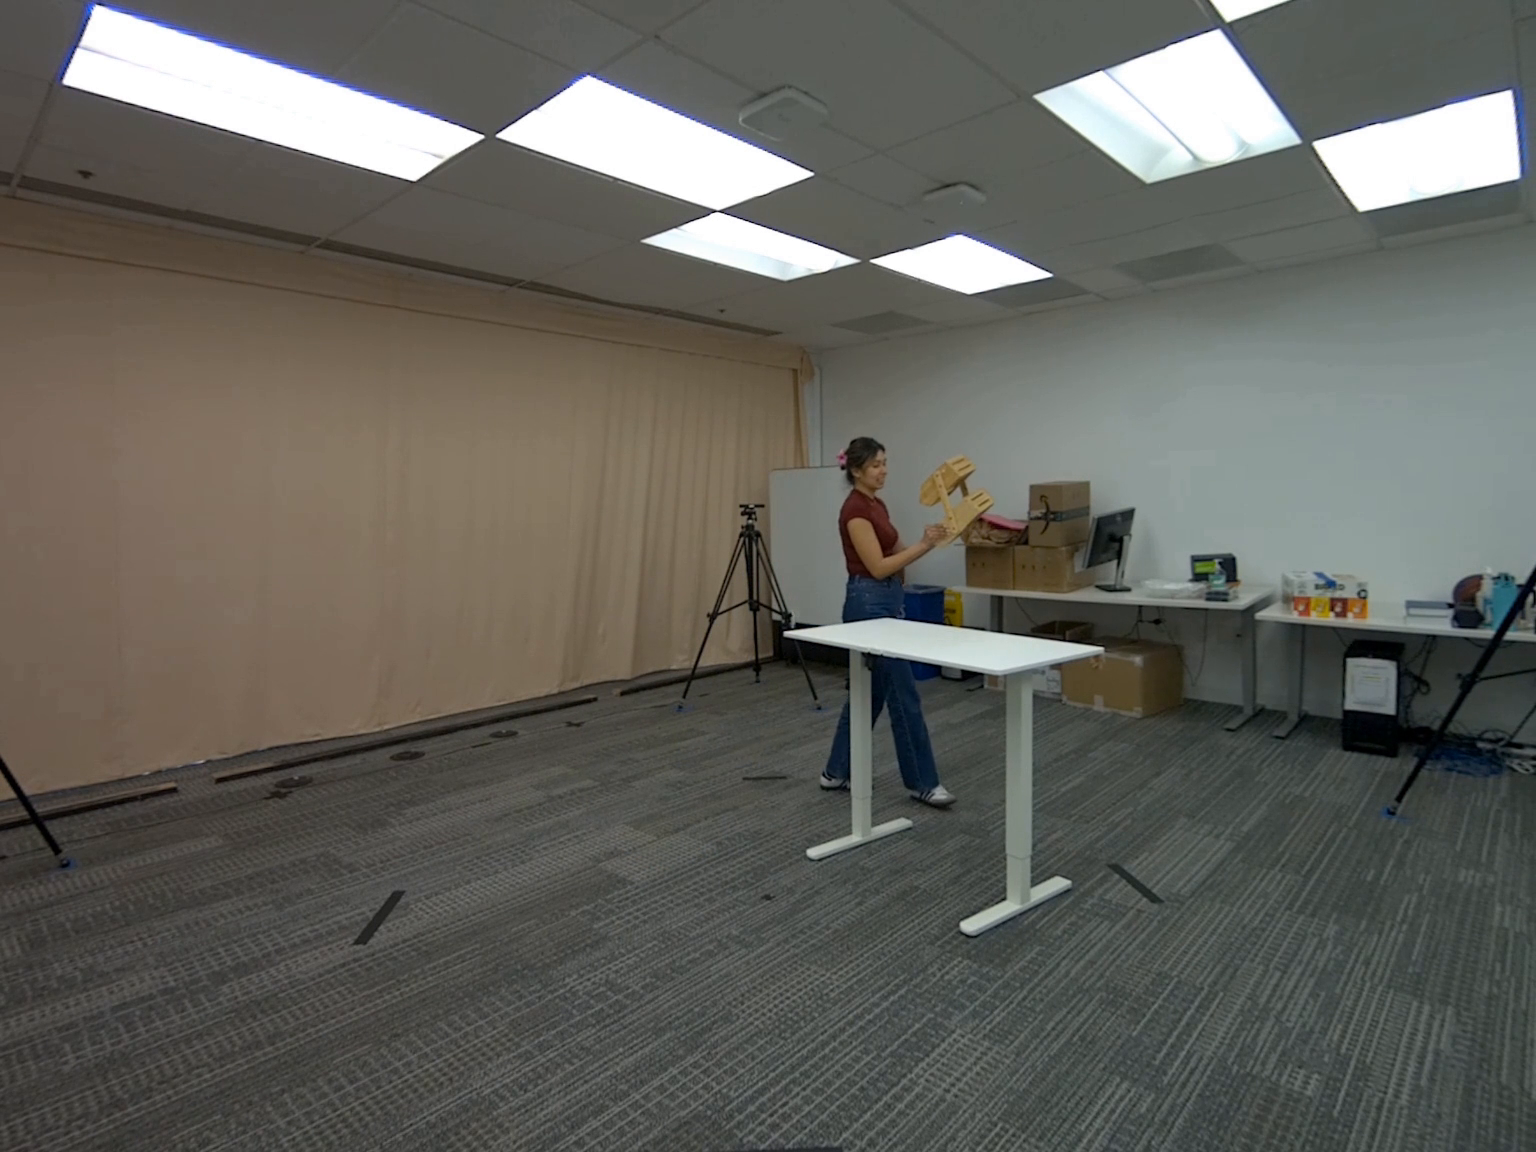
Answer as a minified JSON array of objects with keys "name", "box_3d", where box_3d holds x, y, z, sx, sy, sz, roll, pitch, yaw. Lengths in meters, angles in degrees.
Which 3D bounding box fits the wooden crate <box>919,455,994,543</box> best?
[{"name":"wooden crate","box_3d":[0.824,-0.338,3.775,0.304,0.277,0.318,-48,-13,29]}]
